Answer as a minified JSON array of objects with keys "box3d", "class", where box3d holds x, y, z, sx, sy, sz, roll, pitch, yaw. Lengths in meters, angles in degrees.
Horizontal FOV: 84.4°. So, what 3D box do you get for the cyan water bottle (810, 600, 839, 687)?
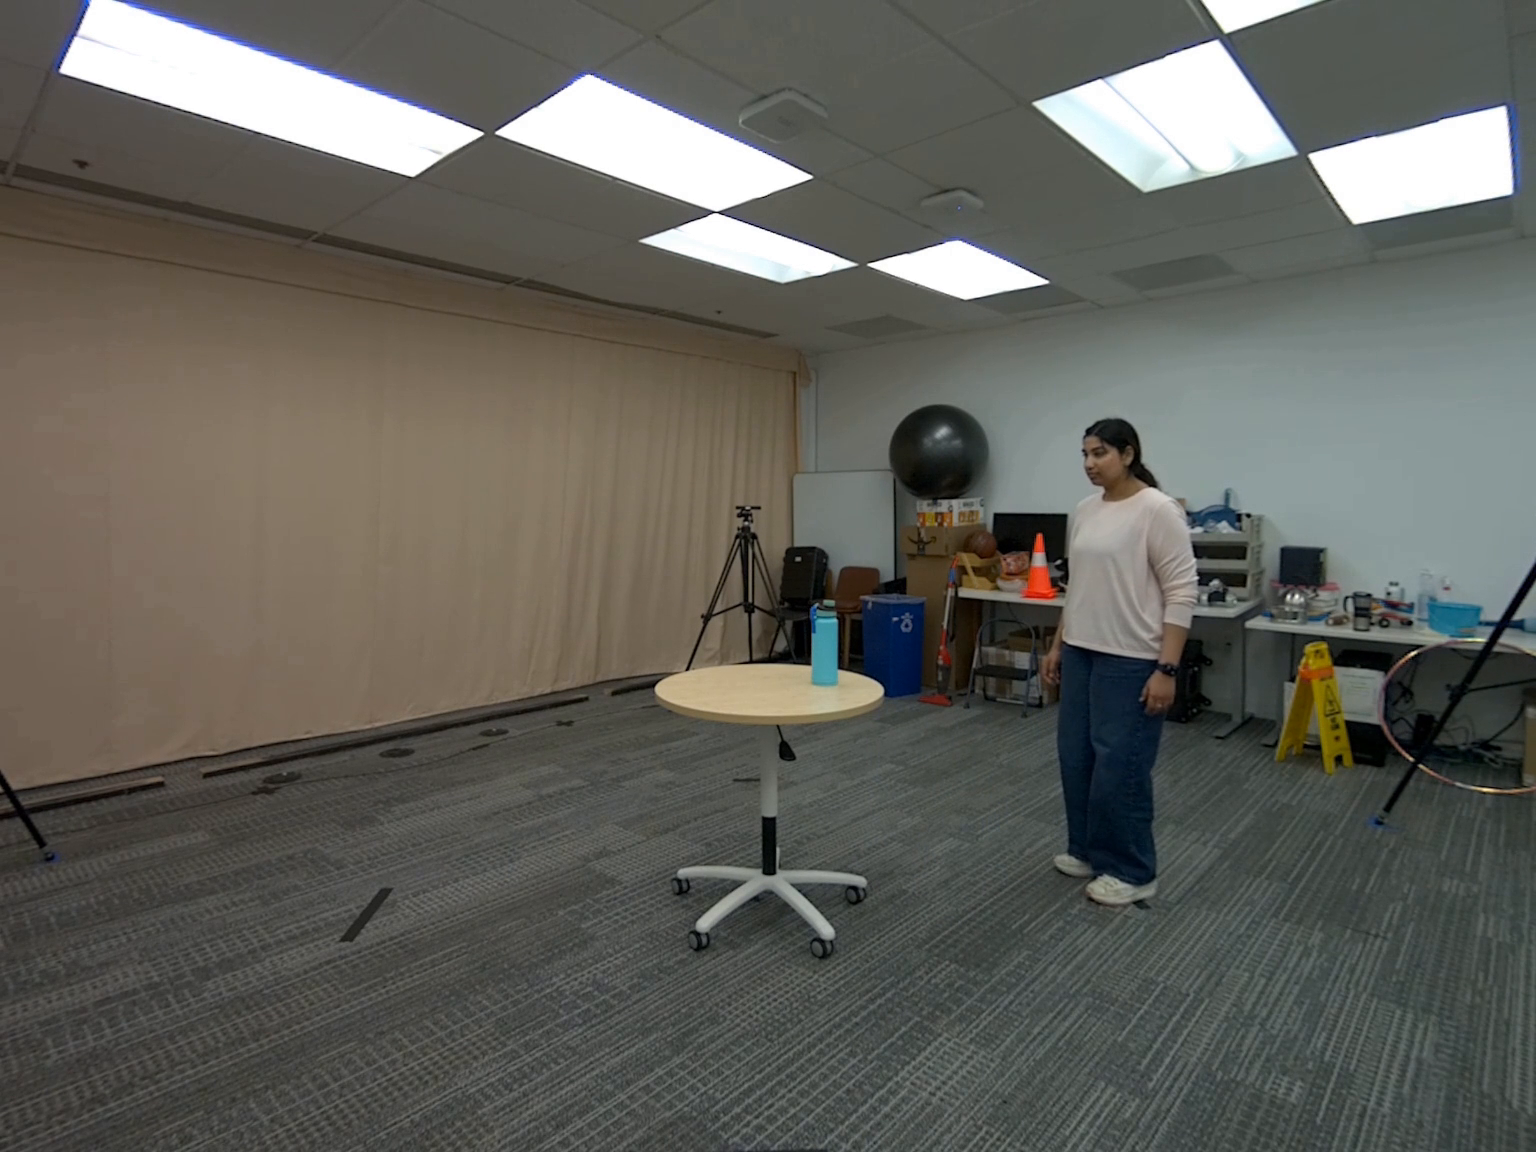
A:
[{"box3d":[0.203,0.232,2.876,0.092,0.283,0.092,-1,4,-2],"class":"cyan water bottle"}]
